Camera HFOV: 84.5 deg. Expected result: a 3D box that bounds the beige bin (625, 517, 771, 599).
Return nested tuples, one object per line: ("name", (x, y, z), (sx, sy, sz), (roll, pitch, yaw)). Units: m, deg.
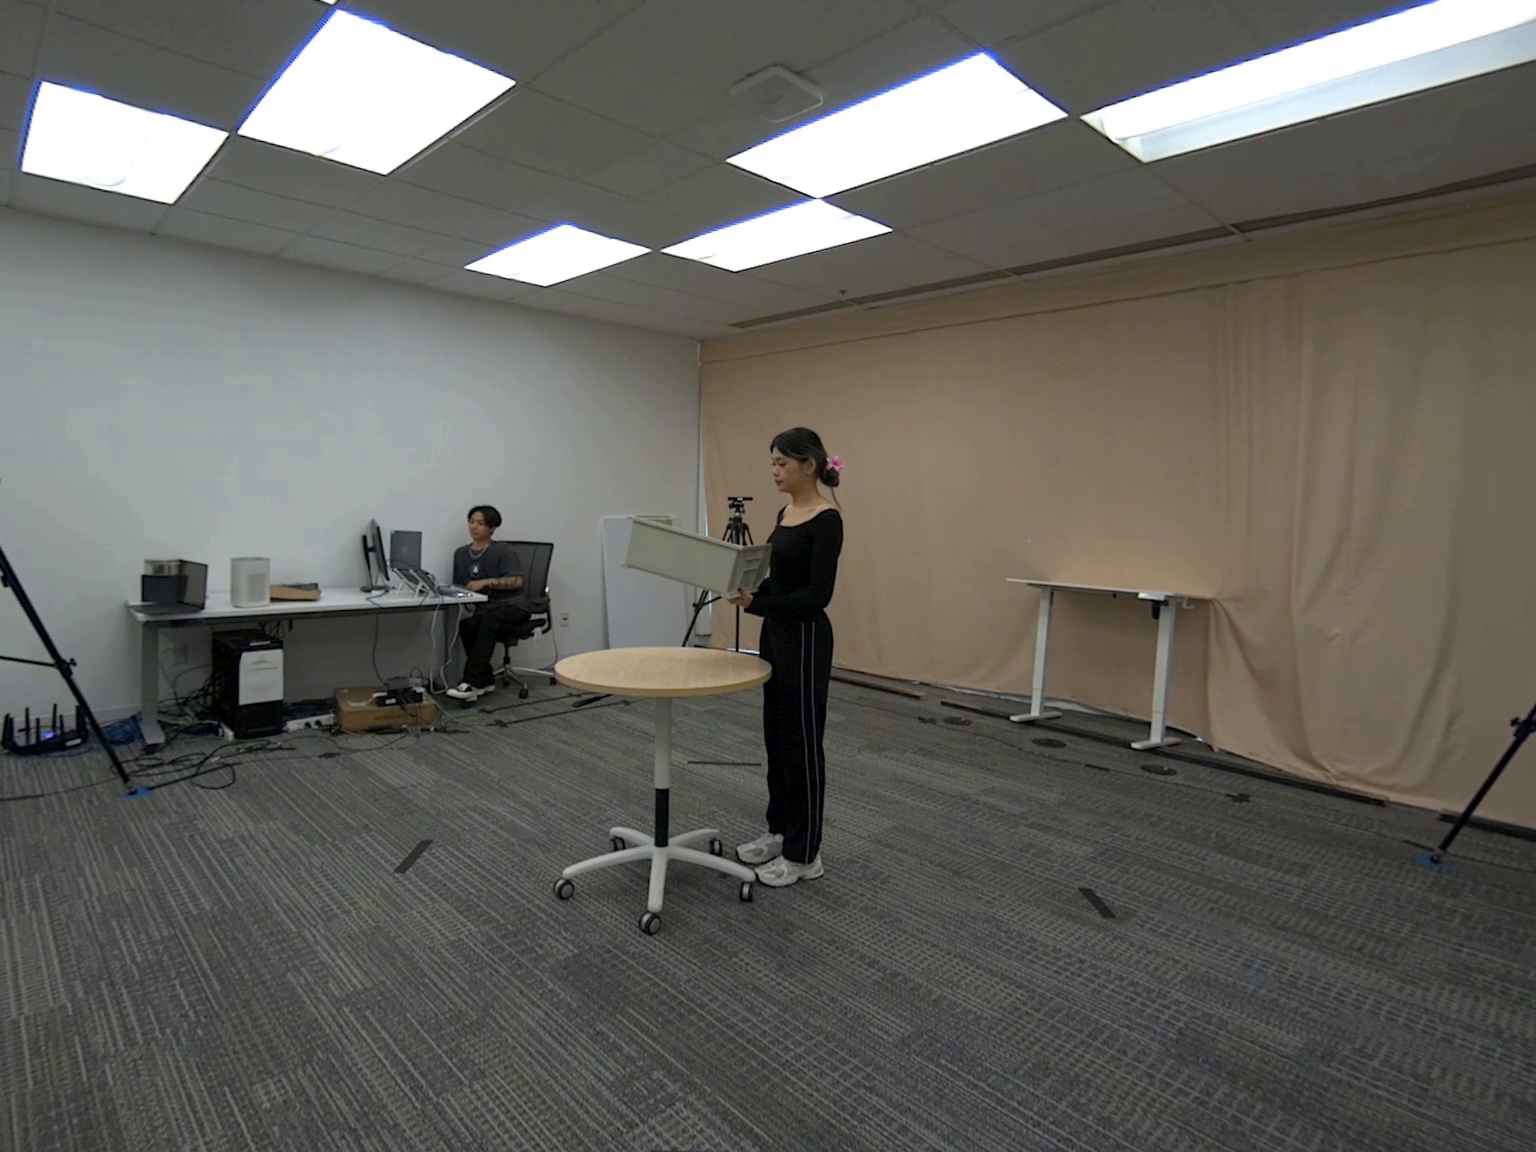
("beige bin", (-0.257, -0.070, 2.955), (0.430, 0.188, 0.372), (17, 9, 17))
